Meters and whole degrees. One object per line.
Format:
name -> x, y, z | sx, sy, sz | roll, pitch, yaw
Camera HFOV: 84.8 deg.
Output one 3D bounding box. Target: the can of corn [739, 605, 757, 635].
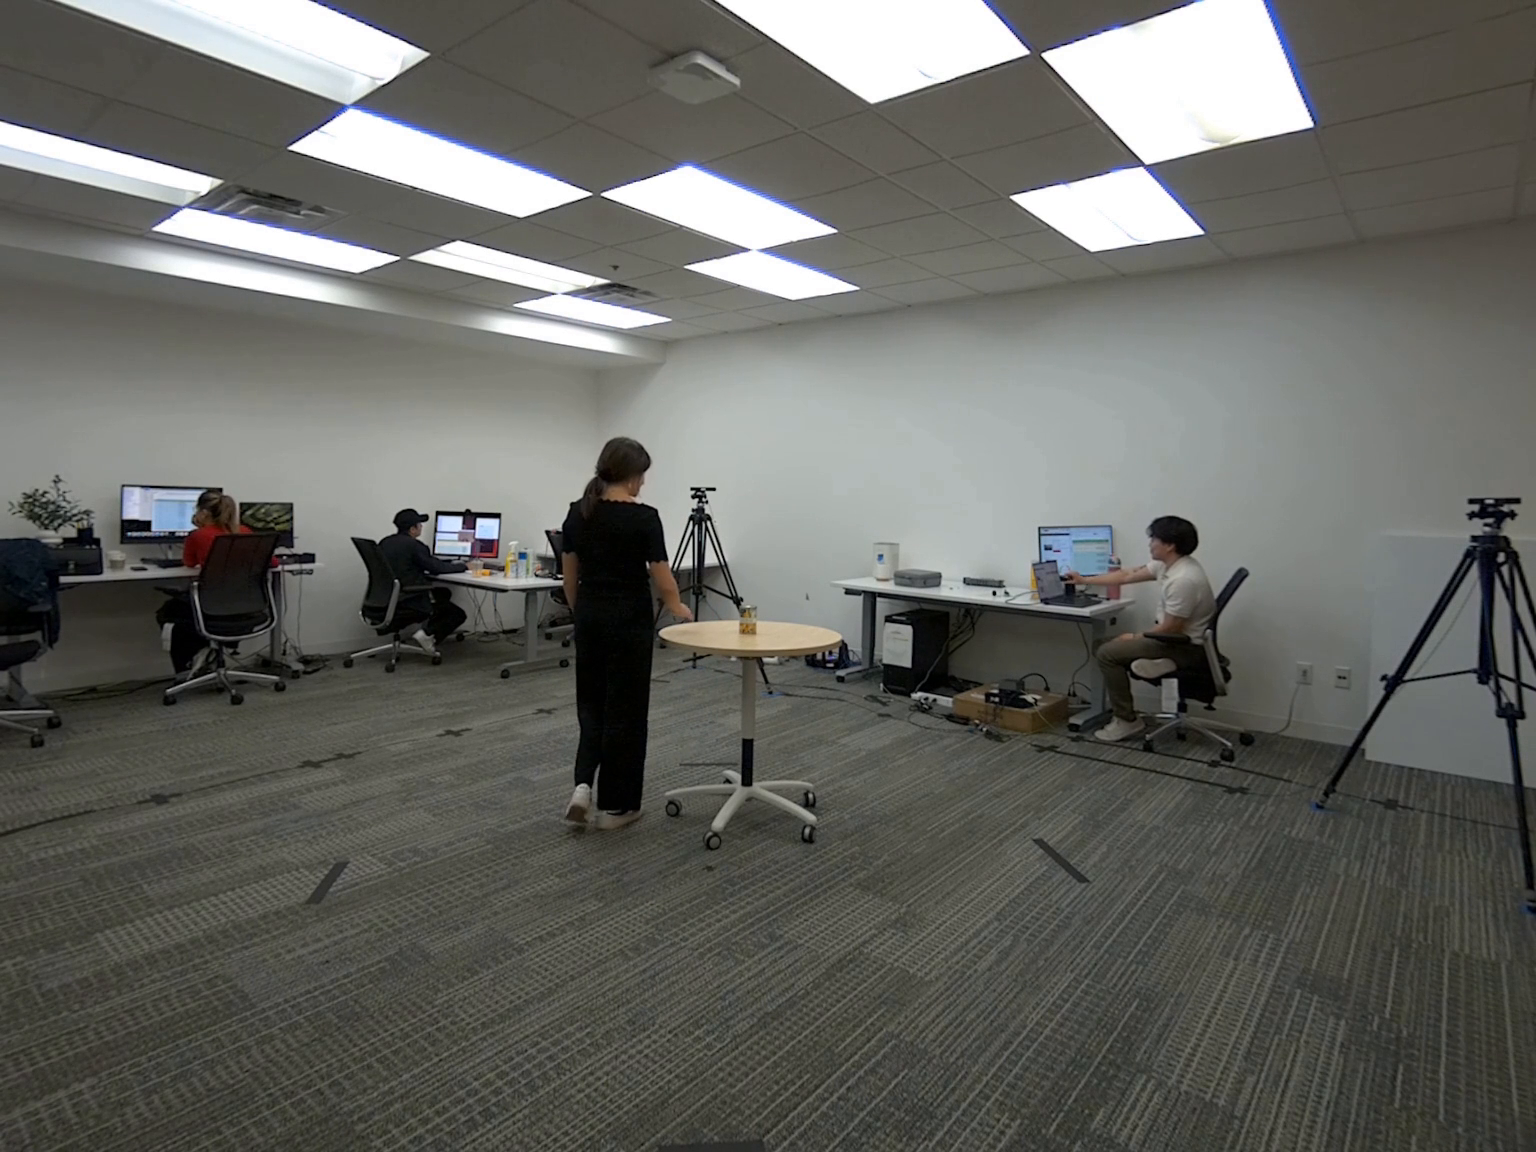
can of corn -> -0.097, 0.182, 3.579 | 0.074, 0.111, 0.074 | 1, 3, -2
